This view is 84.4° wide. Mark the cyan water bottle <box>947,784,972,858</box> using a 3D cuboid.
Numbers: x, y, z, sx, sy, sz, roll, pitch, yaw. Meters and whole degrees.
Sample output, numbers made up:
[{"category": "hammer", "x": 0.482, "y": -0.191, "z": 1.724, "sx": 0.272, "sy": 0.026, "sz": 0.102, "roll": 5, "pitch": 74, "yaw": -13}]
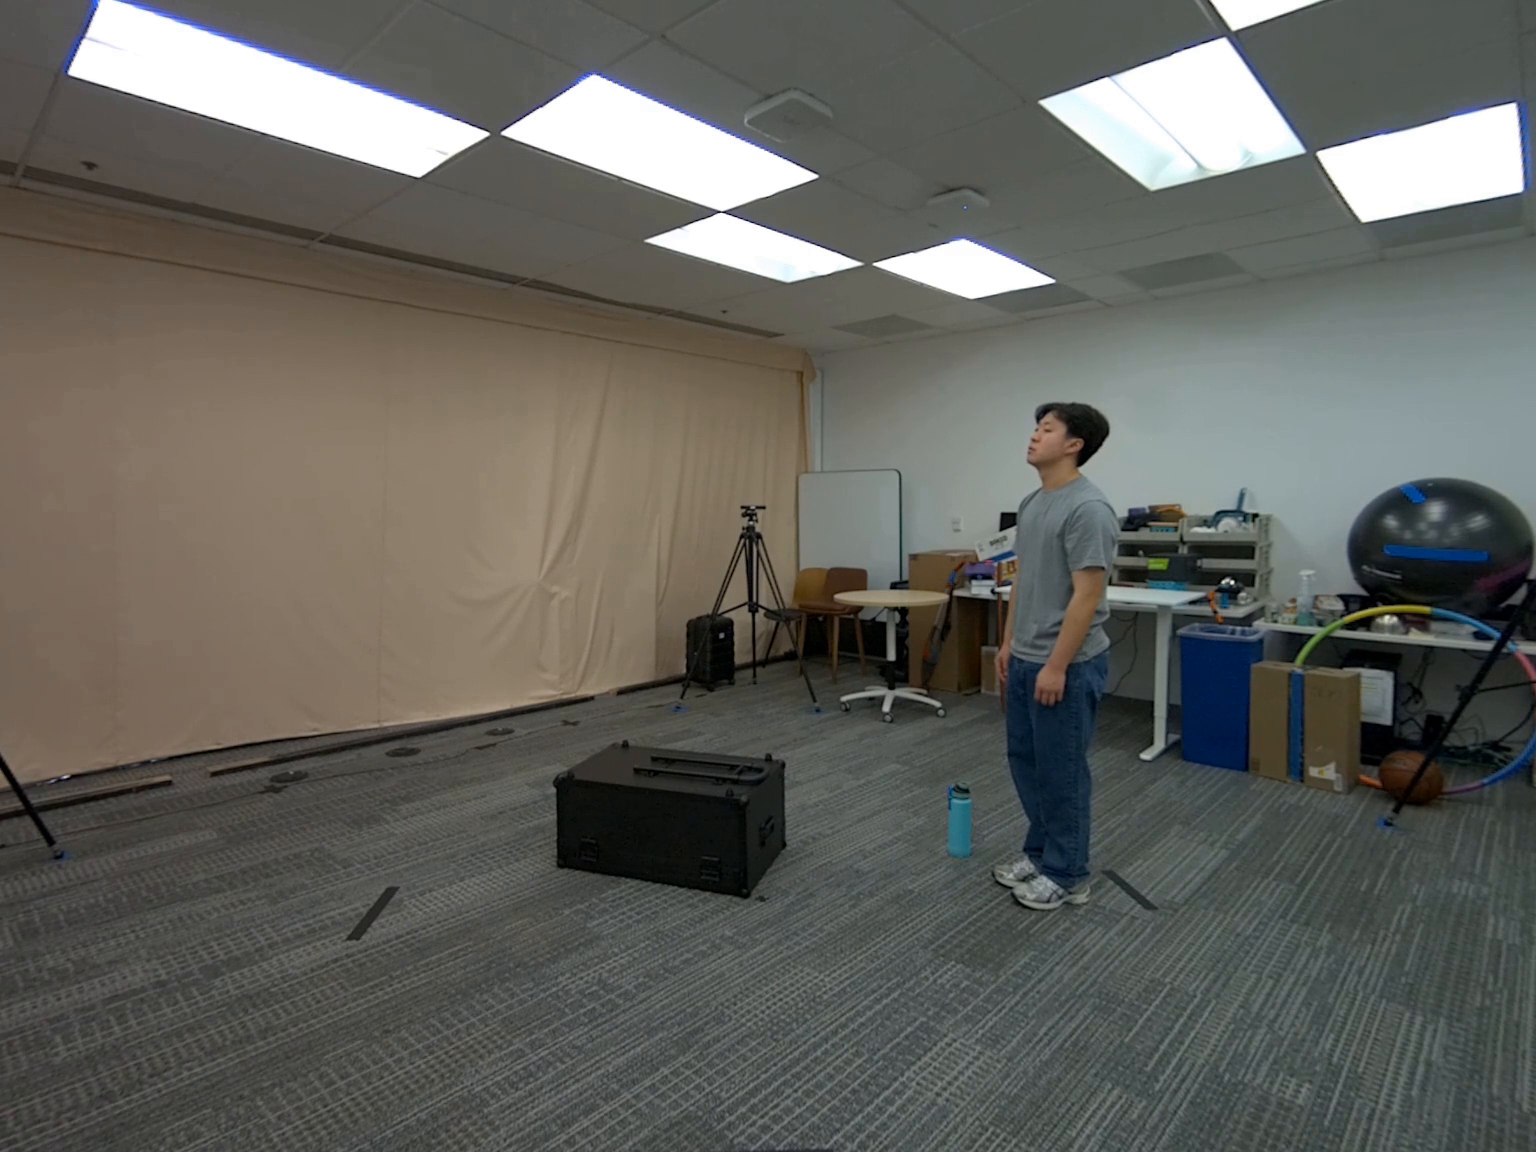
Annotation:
[{"category": "cyan water bottle", "x": 0.769, "y": 0.969, "z": 3.374, "sx": 0.092, "sy": 0.283, "sz": 0.092, "roll": 0, "pitch": 1, "yaw": -2}]
